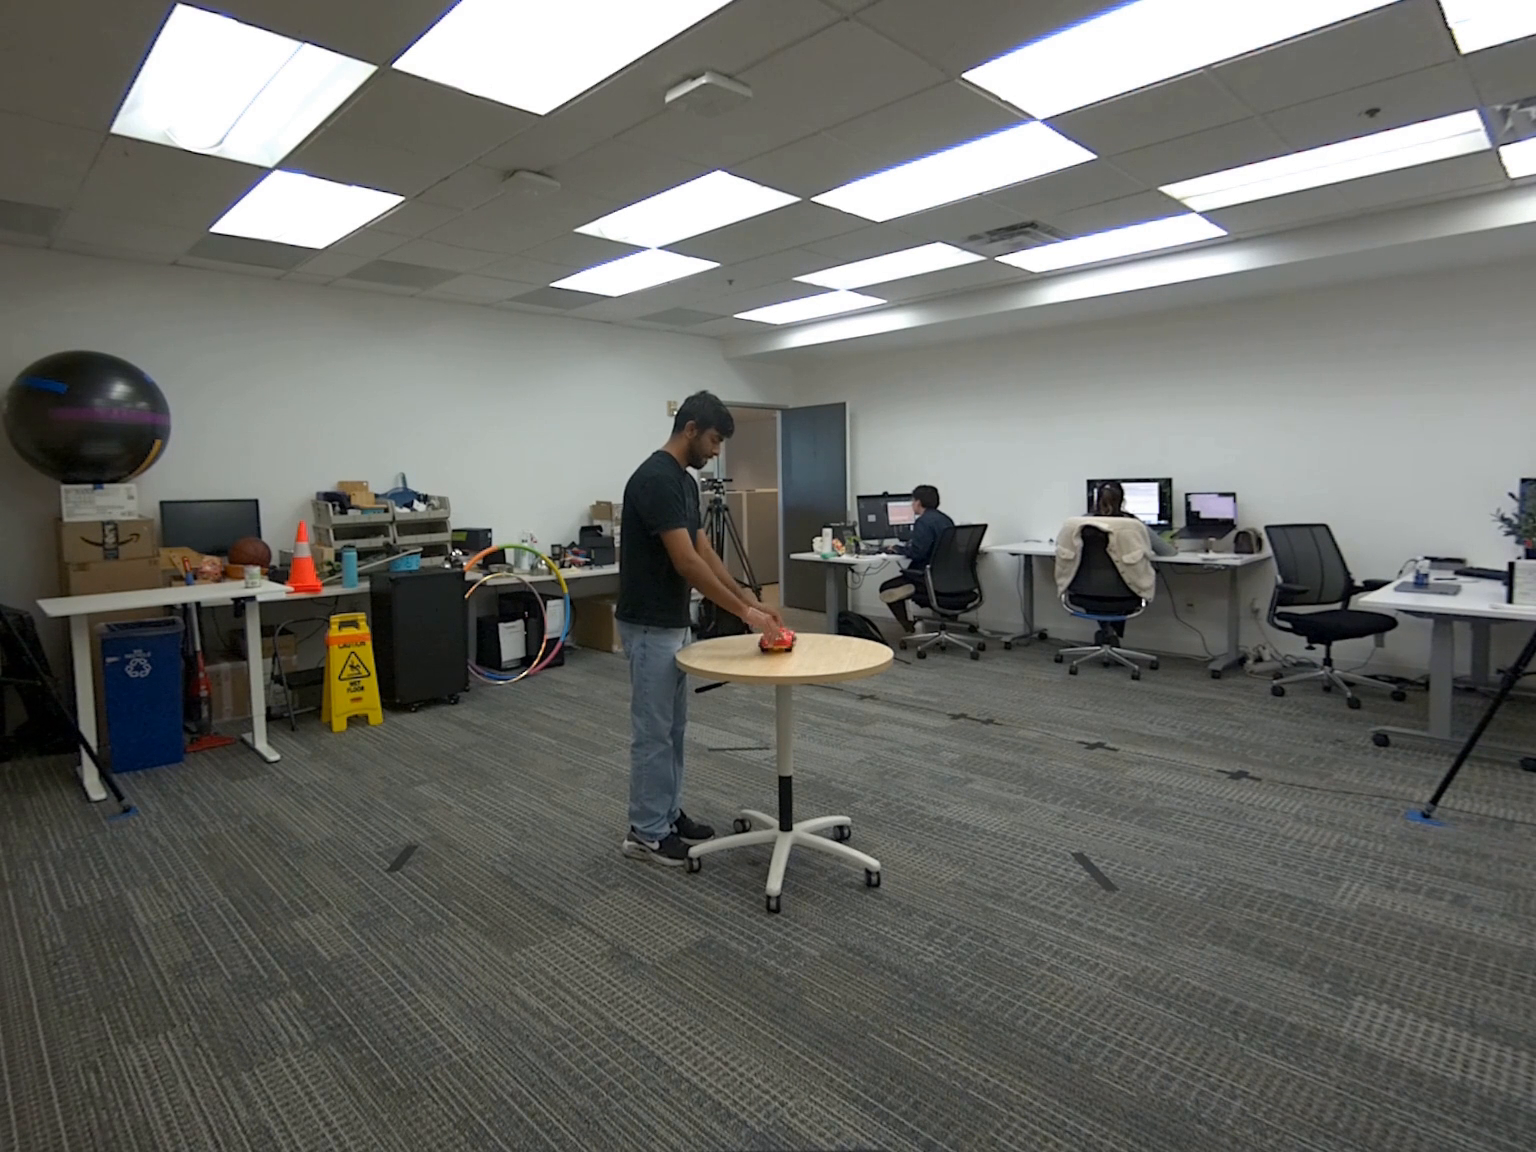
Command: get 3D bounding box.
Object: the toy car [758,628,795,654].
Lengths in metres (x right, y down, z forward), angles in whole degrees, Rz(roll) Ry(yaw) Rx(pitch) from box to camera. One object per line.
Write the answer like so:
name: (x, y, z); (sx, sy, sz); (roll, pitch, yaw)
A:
toy car: (0.030, 0.229, 3.077); (0.131, 0.083, 0.252); (-1, -3, 5)
